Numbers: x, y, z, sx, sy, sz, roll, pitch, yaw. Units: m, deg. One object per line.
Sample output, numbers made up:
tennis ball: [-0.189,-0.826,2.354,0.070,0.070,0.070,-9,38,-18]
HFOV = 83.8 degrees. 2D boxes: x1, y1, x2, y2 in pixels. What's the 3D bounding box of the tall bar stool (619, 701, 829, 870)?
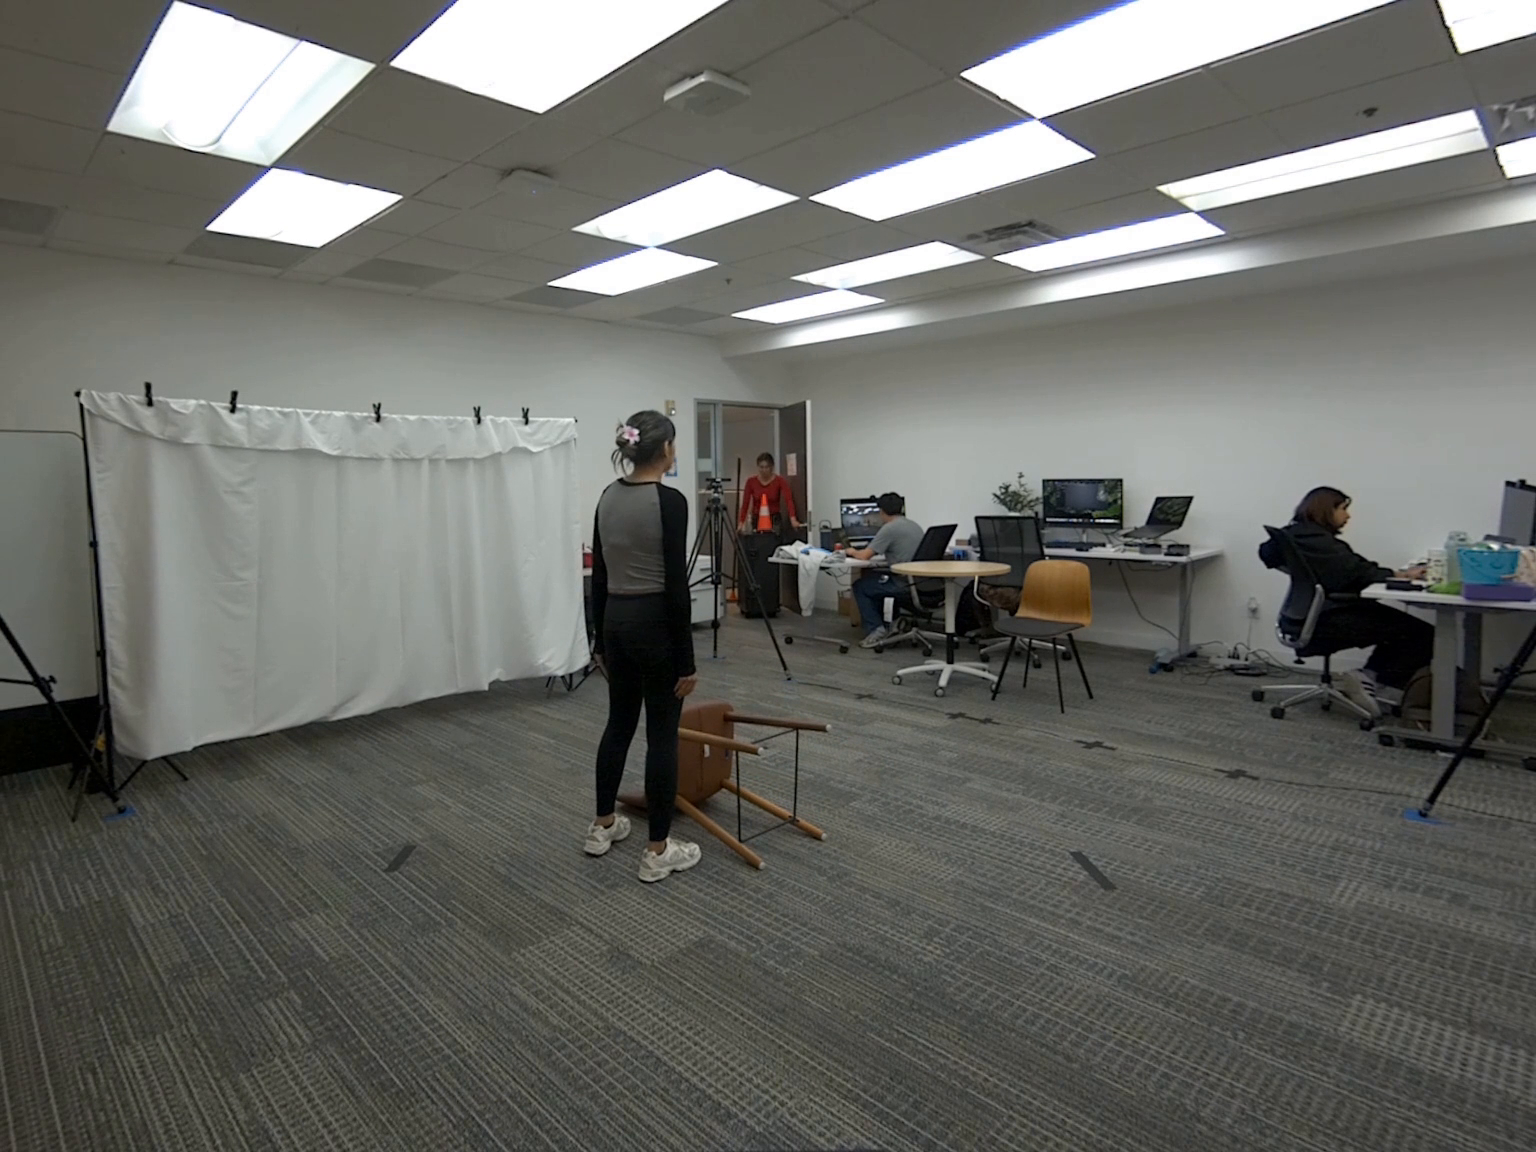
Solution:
tall bar stool: [-0.216,0.775,3.464,0.917,0.466,0.444,4,7,45]
